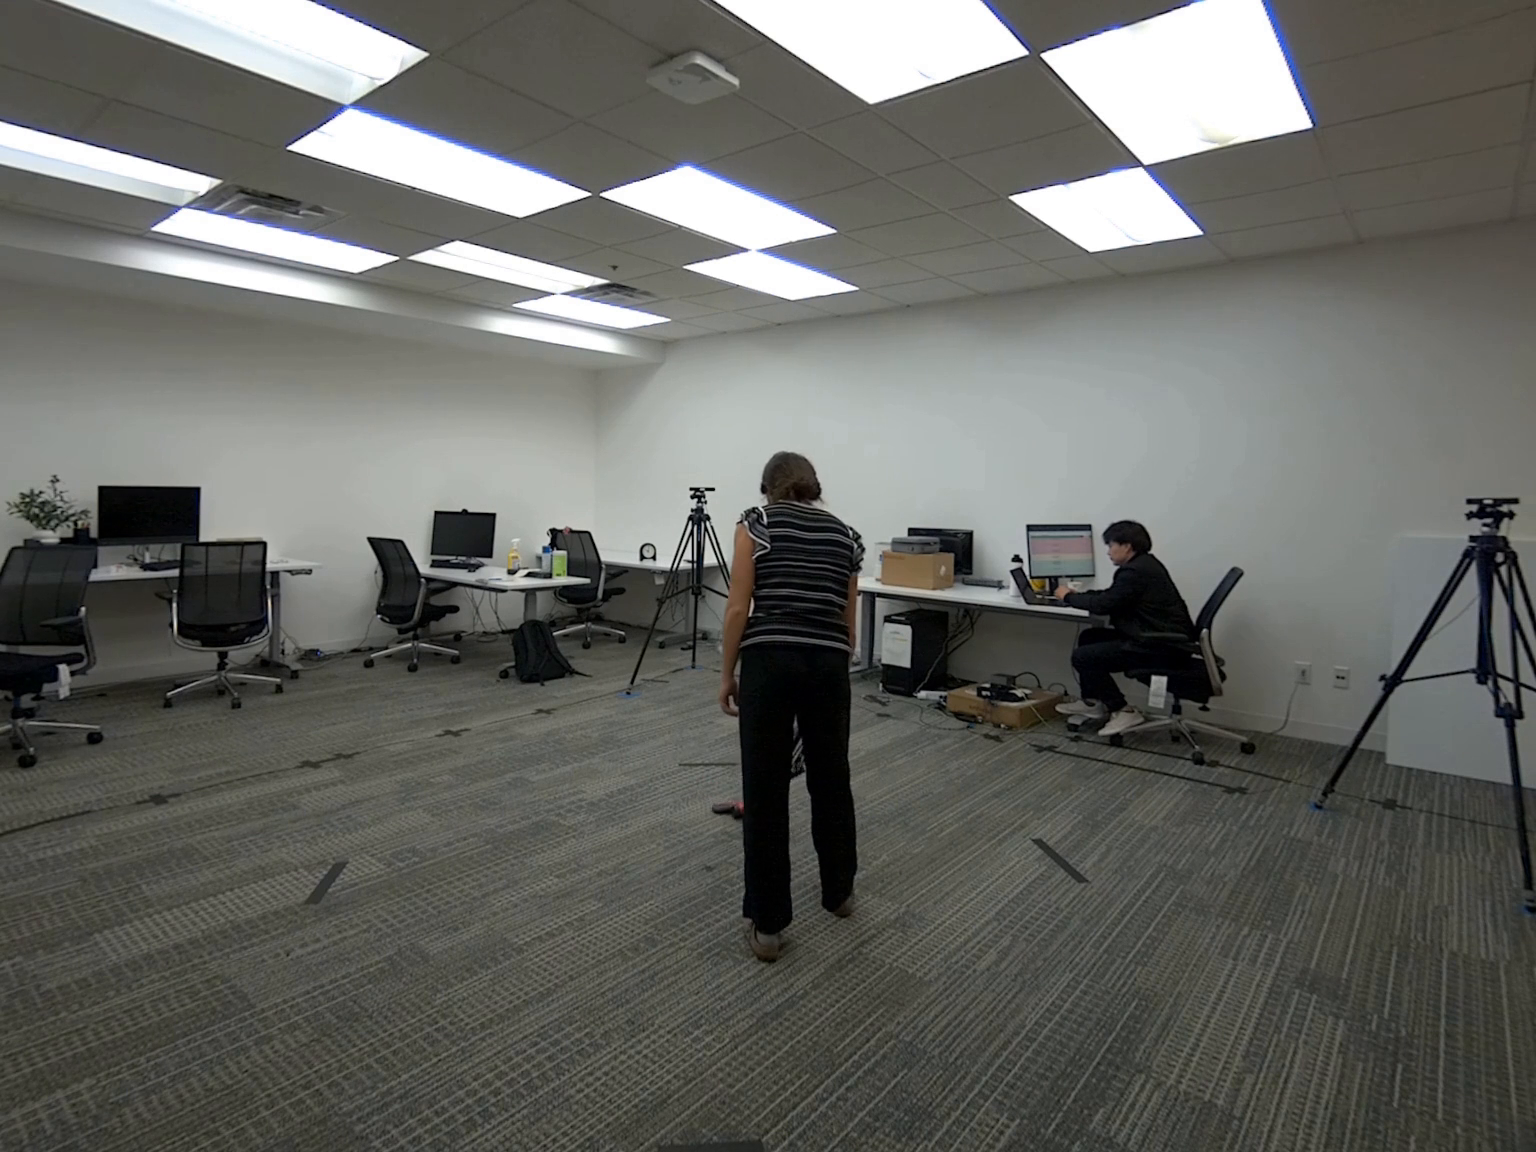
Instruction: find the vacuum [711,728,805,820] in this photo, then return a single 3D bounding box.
[{"bbox_3d":[0.033,0.705,3.264,0.247,0.149,1.035,-2,-34,-21],"label":"vacuum"}]
